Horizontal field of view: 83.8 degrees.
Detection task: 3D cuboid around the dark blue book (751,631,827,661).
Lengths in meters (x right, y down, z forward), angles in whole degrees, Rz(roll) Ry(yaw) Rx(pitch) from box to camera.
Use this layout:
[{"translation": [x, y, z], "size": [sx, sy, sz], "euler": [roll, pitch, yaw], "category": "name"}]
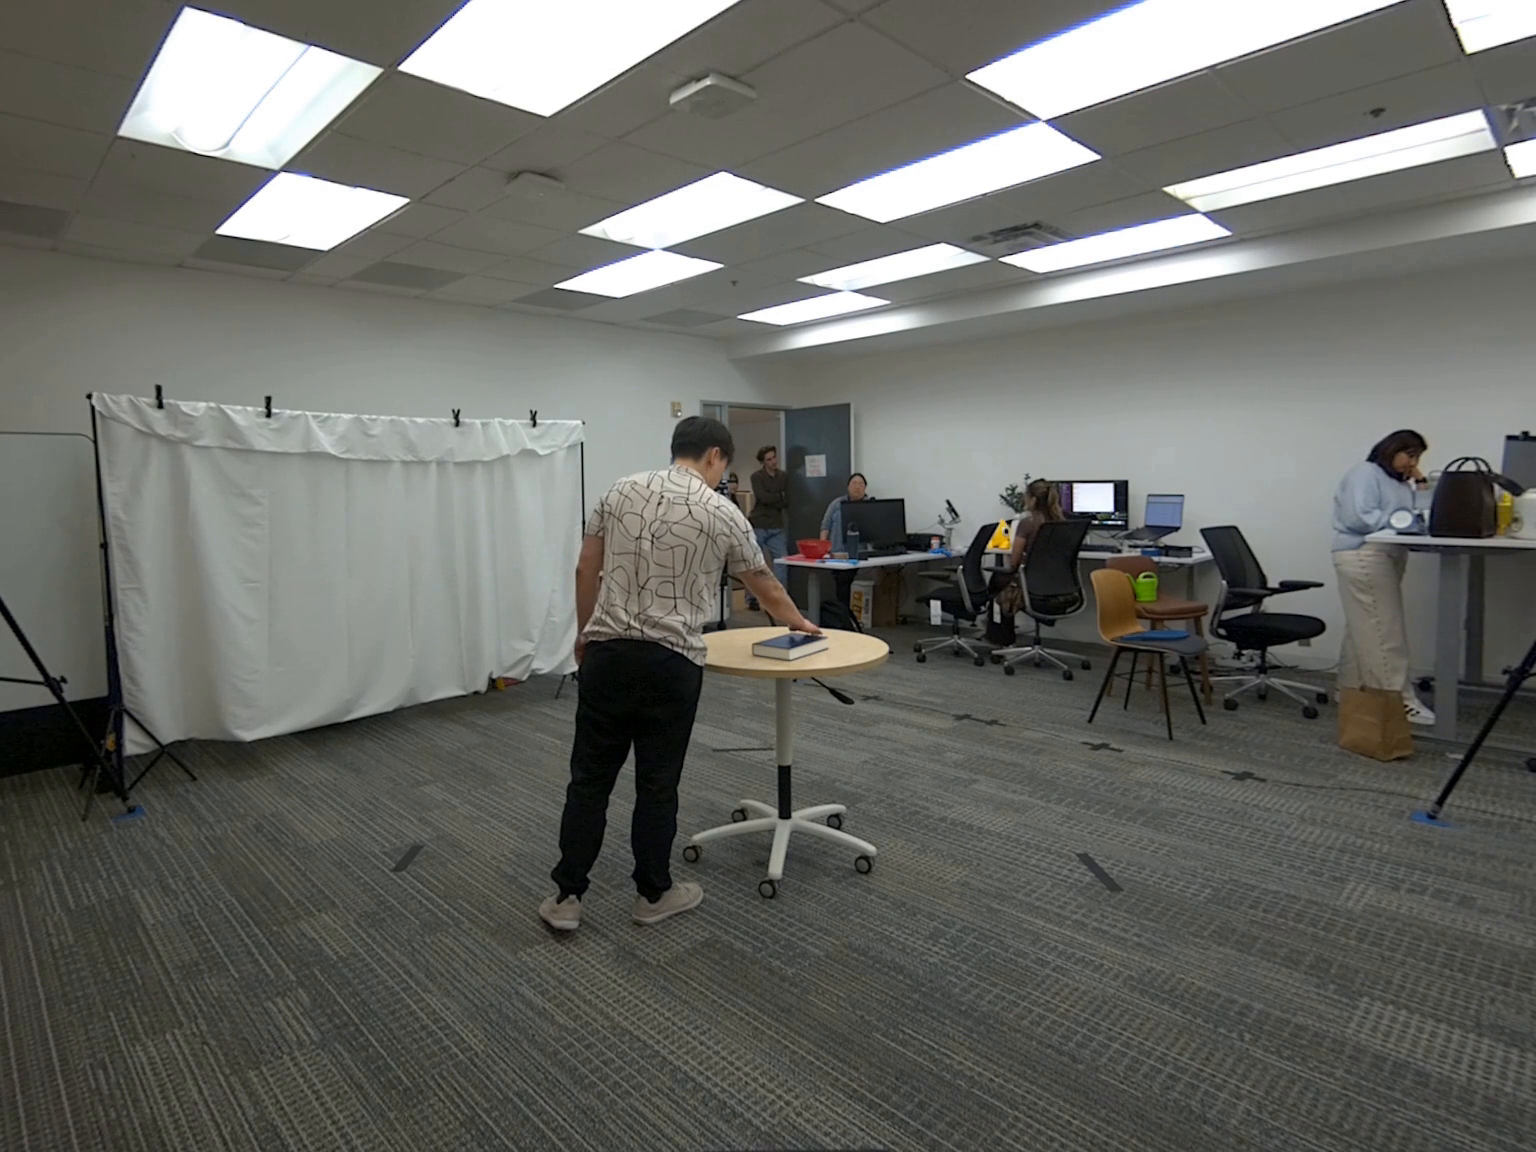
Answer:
[{"translation": [0.089, 0.249, 3.018], "size": [0.168, 0.045, 0.239], "euler": [4, 8, 36], "category": "dark blue book"}]
